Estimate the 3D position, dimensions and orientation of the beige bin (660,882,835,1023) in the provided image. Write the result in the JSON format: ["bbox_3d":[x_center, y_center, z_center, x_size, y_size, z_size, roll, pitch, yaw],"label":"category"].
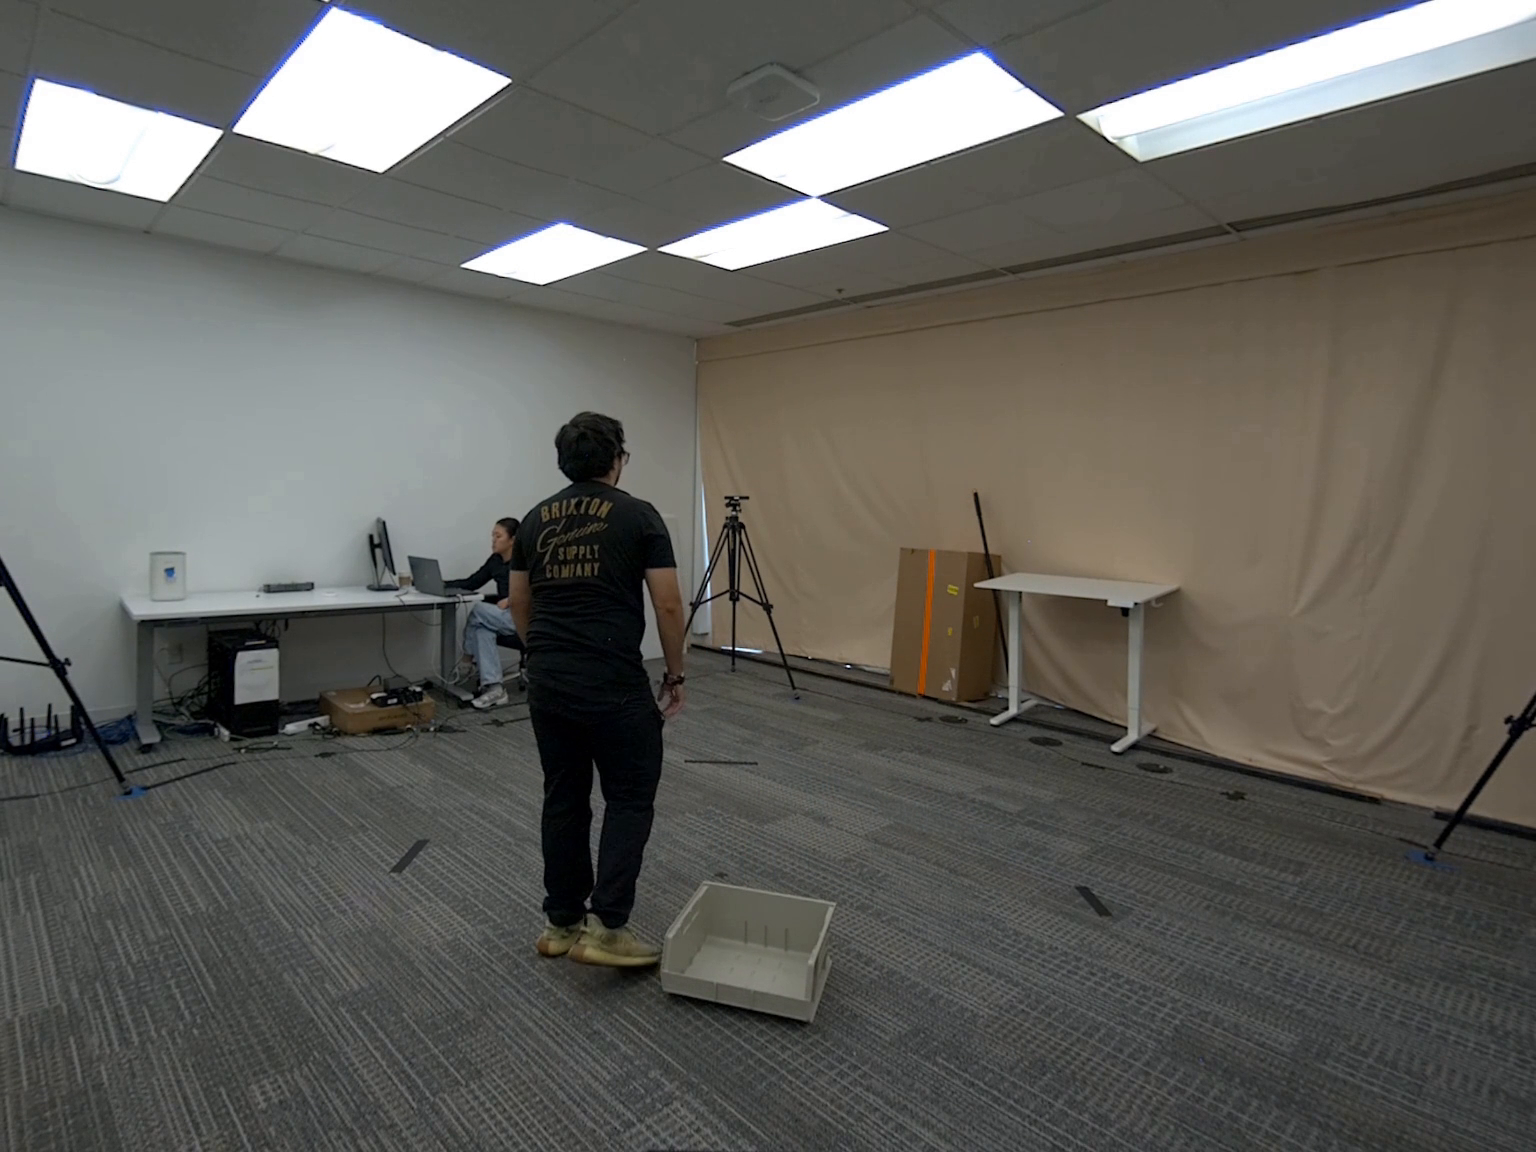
[{"bbox_3d":[-0.050,1.079,2.416,0.428,0.188,0.373,2,3,15],"label":"beige bin"}]
